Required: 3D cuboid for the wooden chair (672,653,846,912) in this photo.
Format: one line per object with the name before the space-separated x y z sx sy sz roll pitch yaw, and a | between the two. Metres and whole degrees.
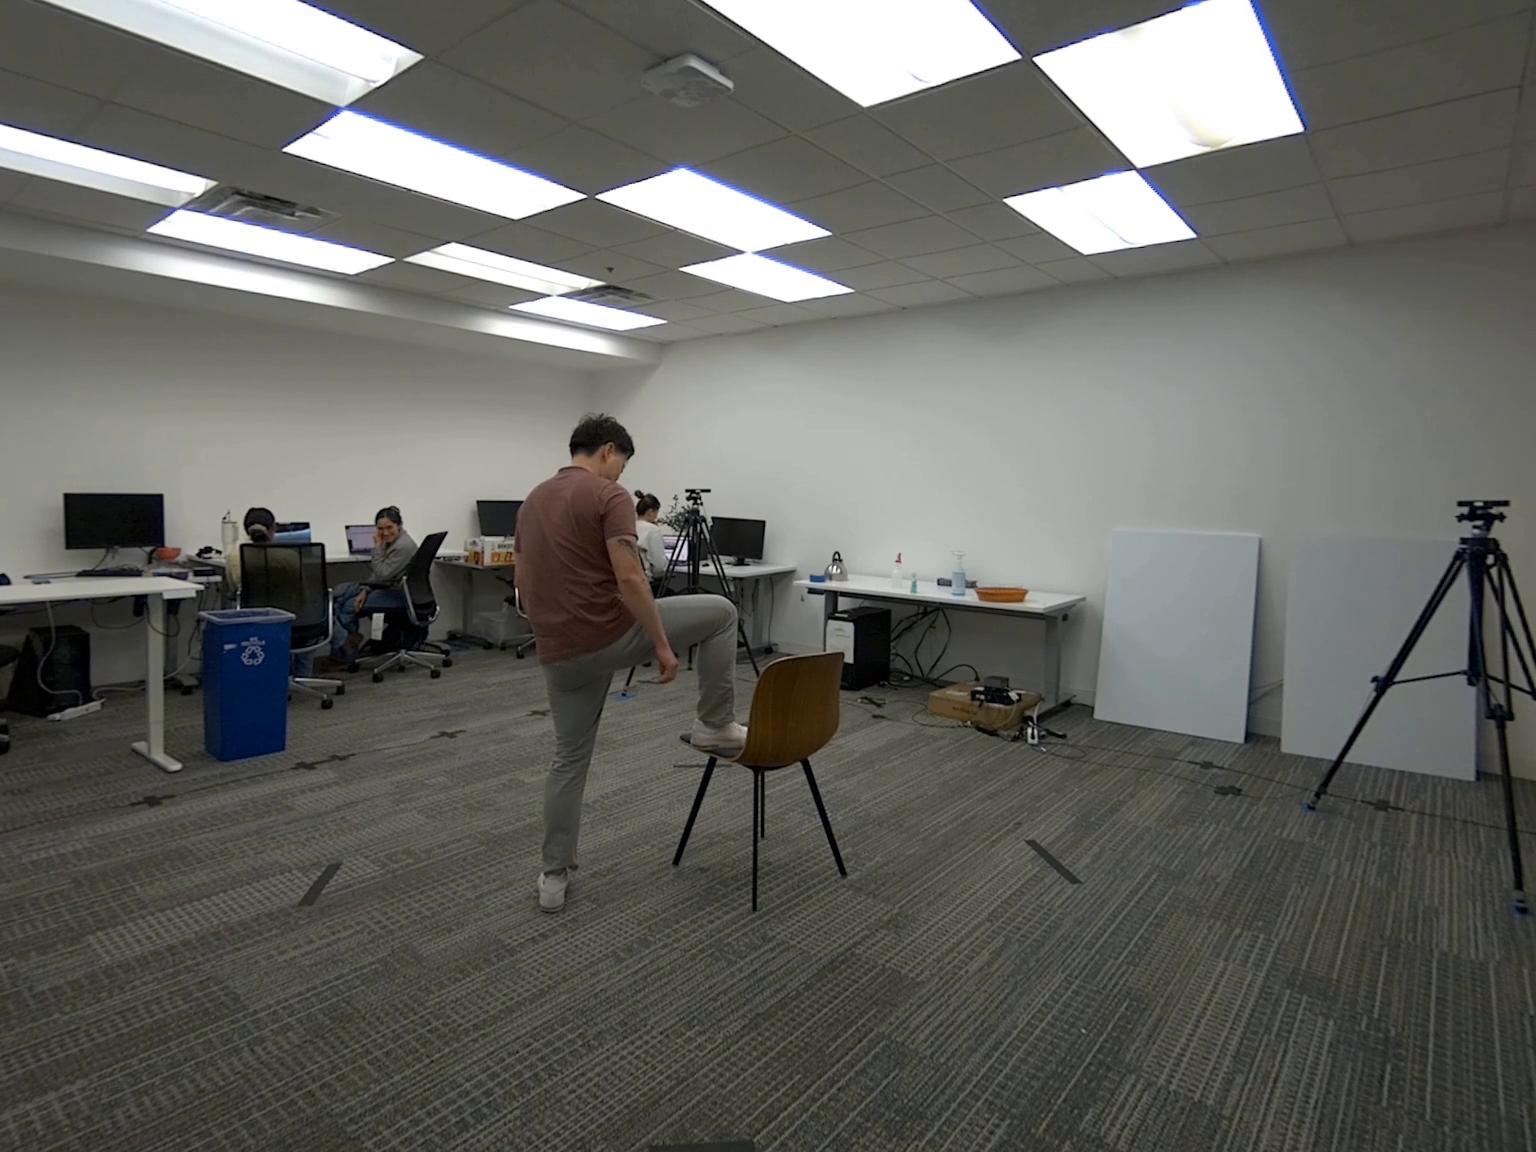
wooden chair | -0.039 0.653 3.100 0.463 0.872 0.542 -2 9 -42
